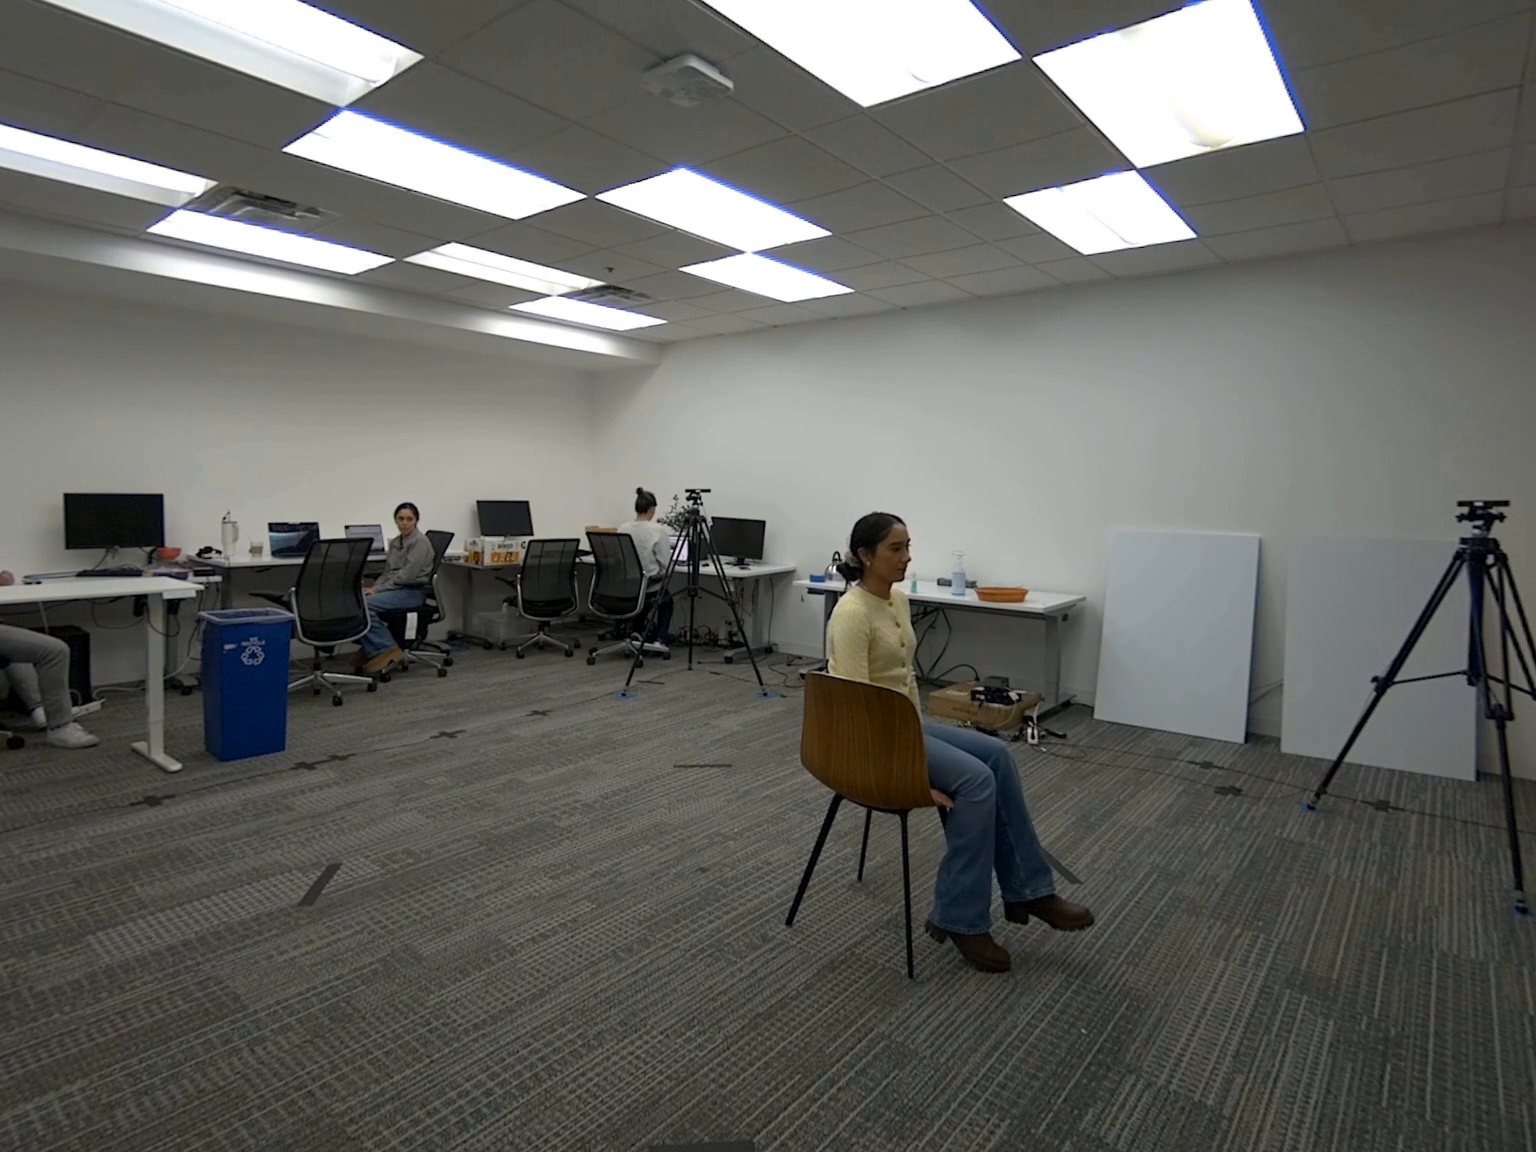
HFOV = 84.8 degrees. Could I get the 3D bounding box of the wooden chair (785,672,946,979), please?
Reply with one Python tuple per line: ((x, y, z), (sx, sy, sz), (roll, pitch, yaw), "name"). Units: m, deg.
((0.372, 0.694, 2.740), (0.494, 0.872, 0.509), (4, 8, 39), "wooden chair")
